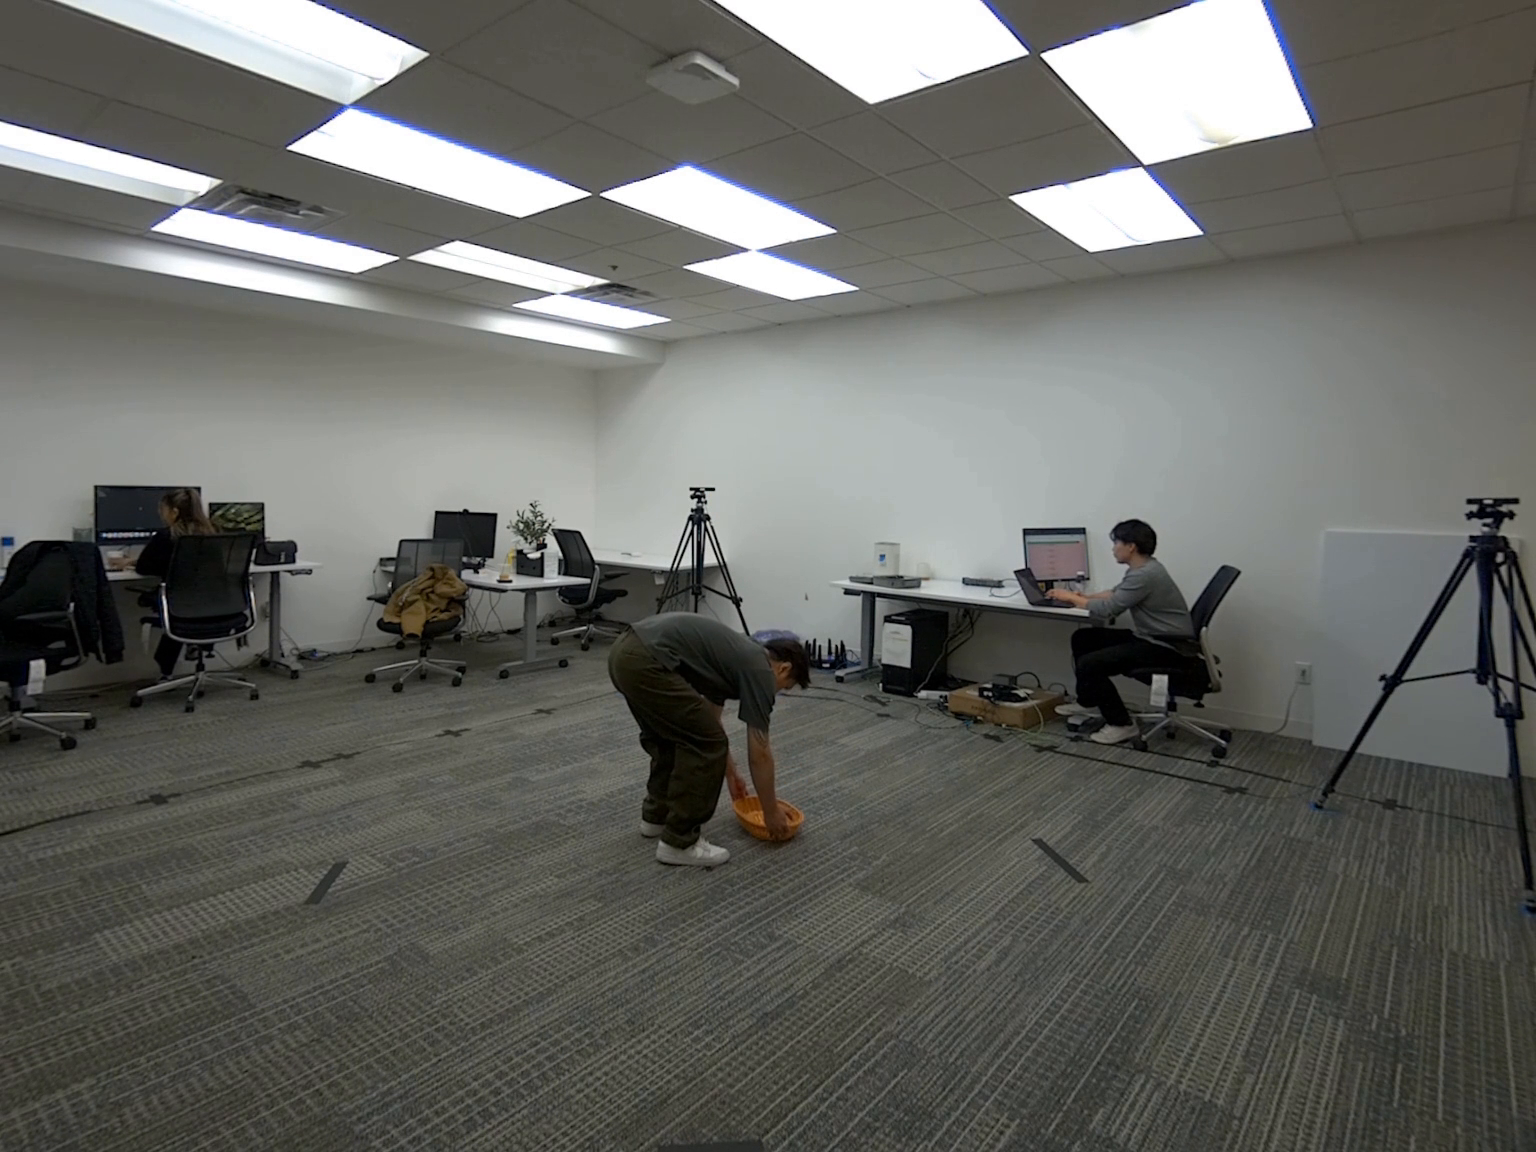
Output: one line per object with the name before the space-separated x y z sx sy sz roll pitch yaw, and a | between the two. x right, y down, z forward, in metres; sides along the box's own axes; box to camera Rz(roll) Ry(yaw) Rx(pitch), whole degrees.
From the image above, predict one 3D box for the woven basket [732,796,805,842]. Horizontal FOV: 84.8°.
woven basket | -0.013 0.987 3.486 0.246 0.073 0.361 -1 6 -29
